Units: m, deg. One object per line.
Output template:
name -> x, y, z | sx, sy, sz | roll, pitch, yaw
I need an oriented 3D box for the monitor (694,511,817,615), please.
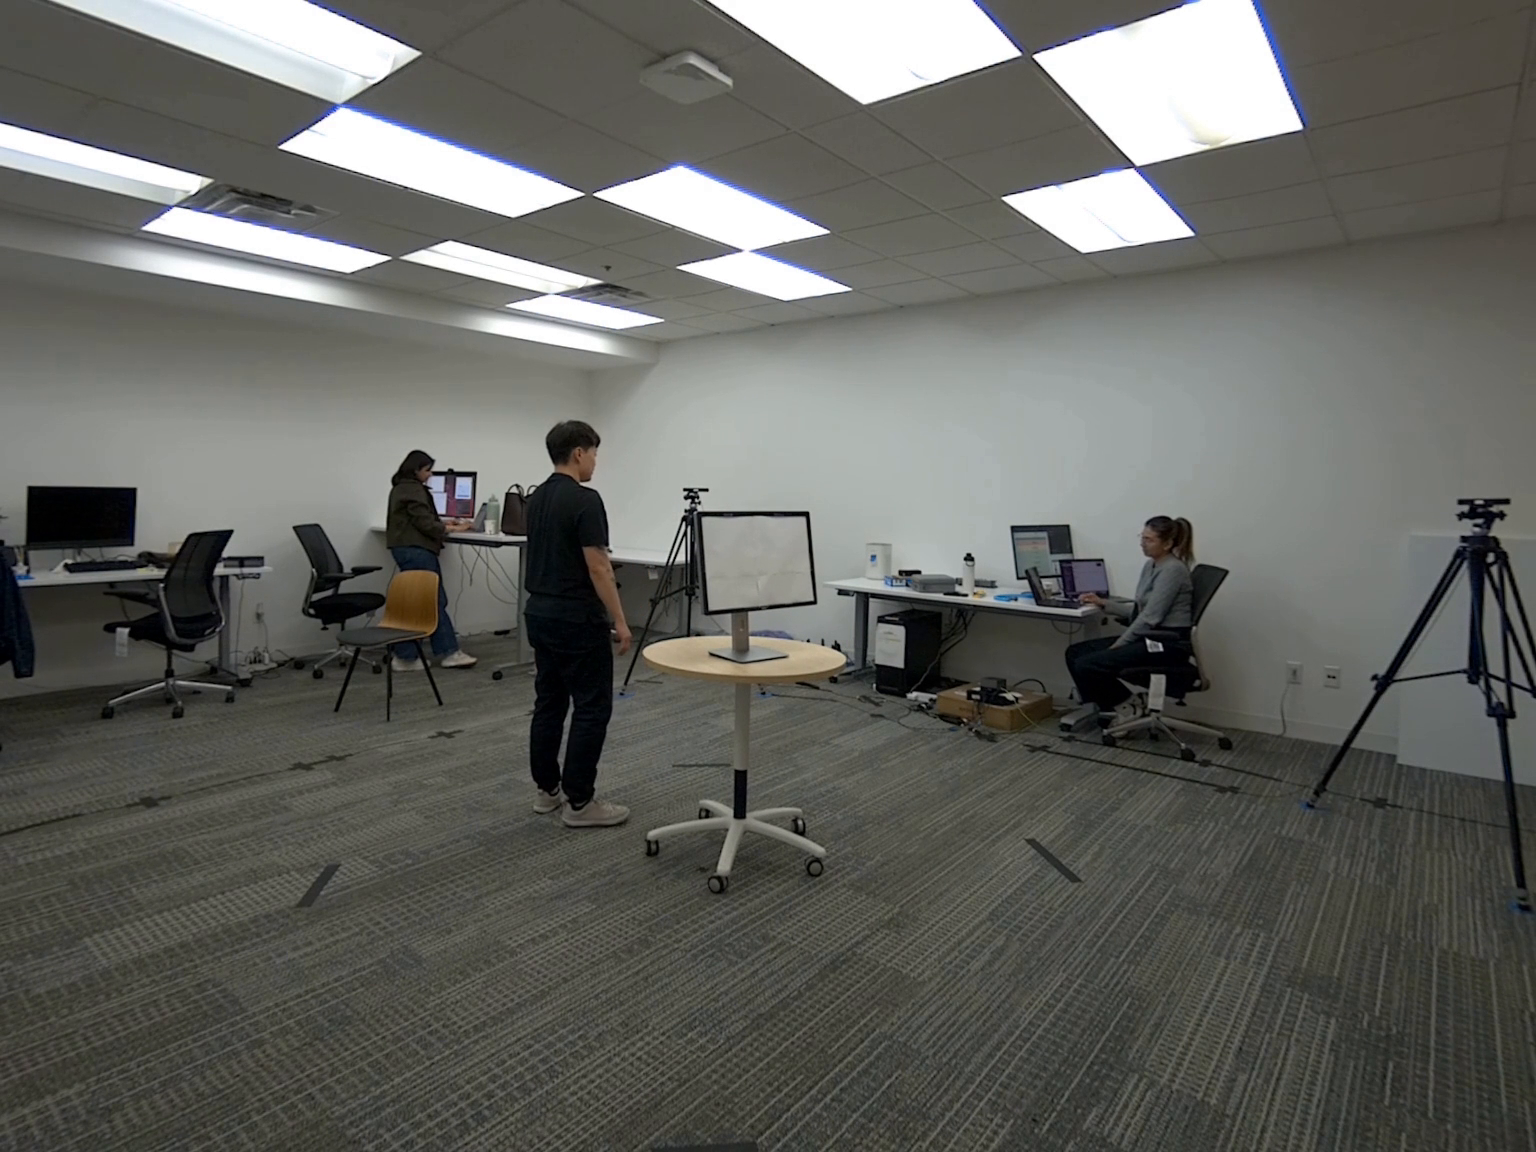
monitor -> -0.073, 0.033, 3.163 | 0.523, 0.520, 0.194 | -3, 7, -43
